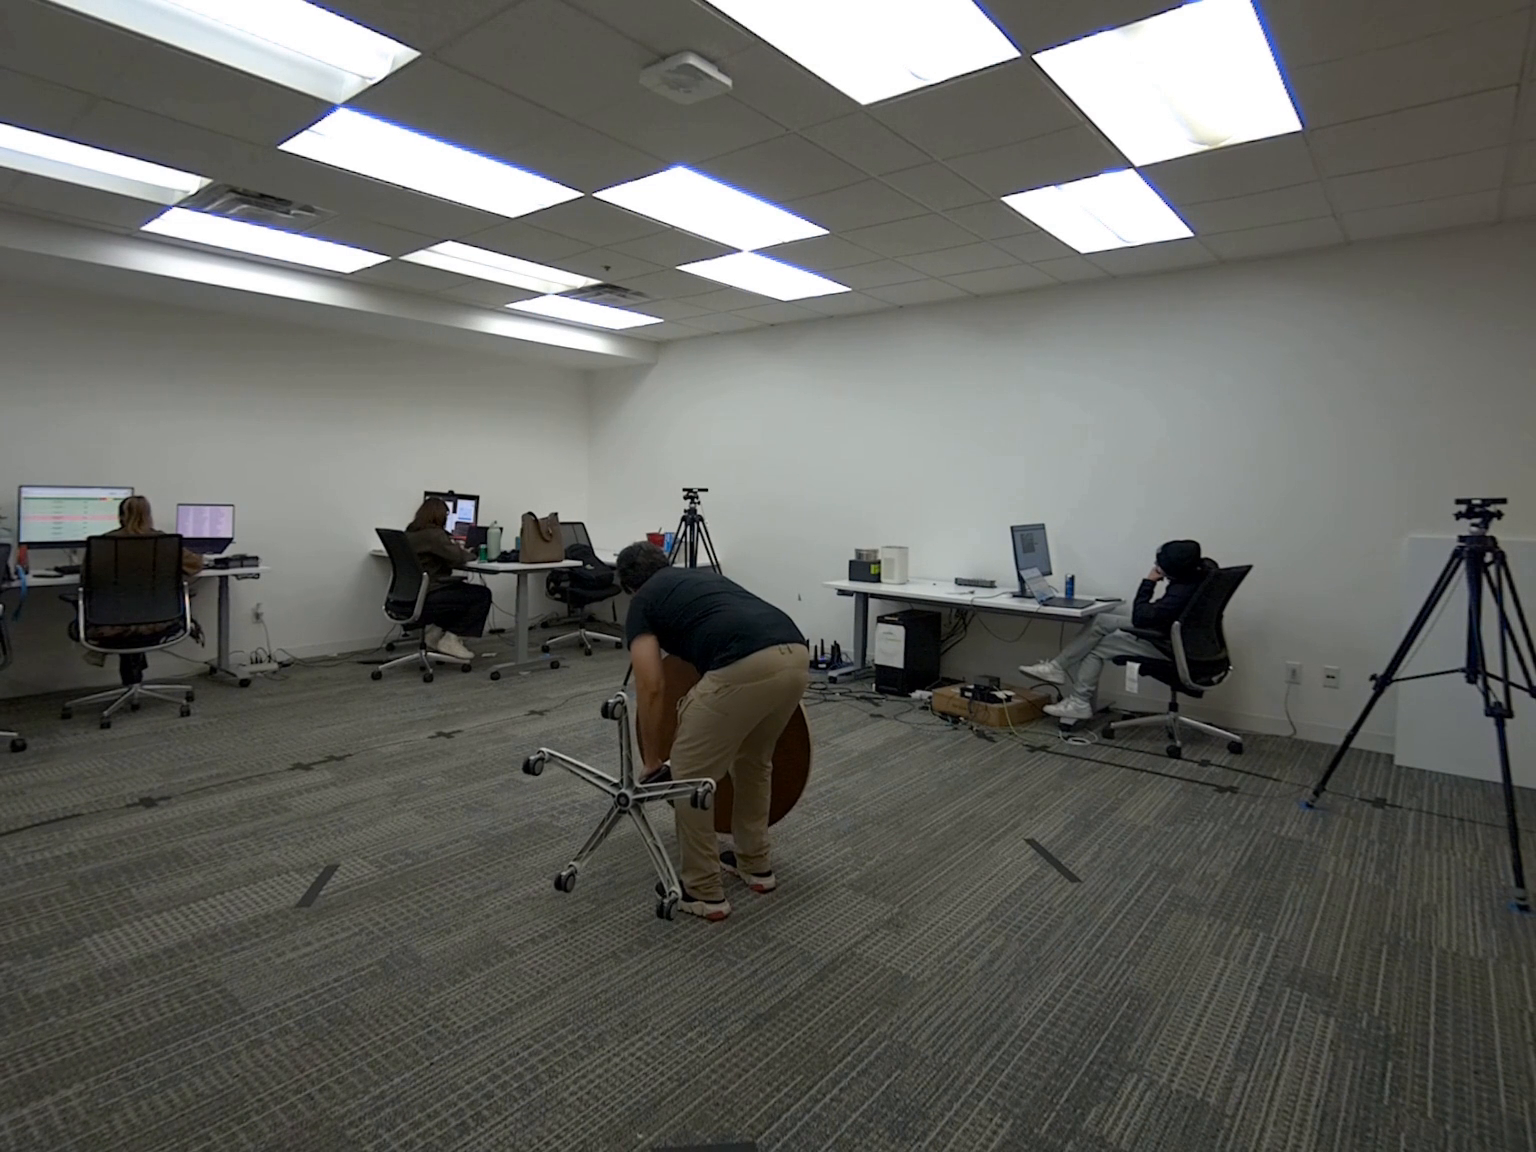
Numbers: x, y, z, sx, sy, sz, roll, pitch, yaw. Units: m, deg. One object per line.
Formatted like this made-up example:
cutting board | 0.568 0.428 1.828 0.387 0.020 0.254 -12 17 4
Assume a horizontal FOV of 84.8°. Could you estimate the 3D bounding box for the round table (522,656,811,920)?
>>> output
round table | -0.352 0.668 2.994 0.805 0.781 0.770 3 6 25
